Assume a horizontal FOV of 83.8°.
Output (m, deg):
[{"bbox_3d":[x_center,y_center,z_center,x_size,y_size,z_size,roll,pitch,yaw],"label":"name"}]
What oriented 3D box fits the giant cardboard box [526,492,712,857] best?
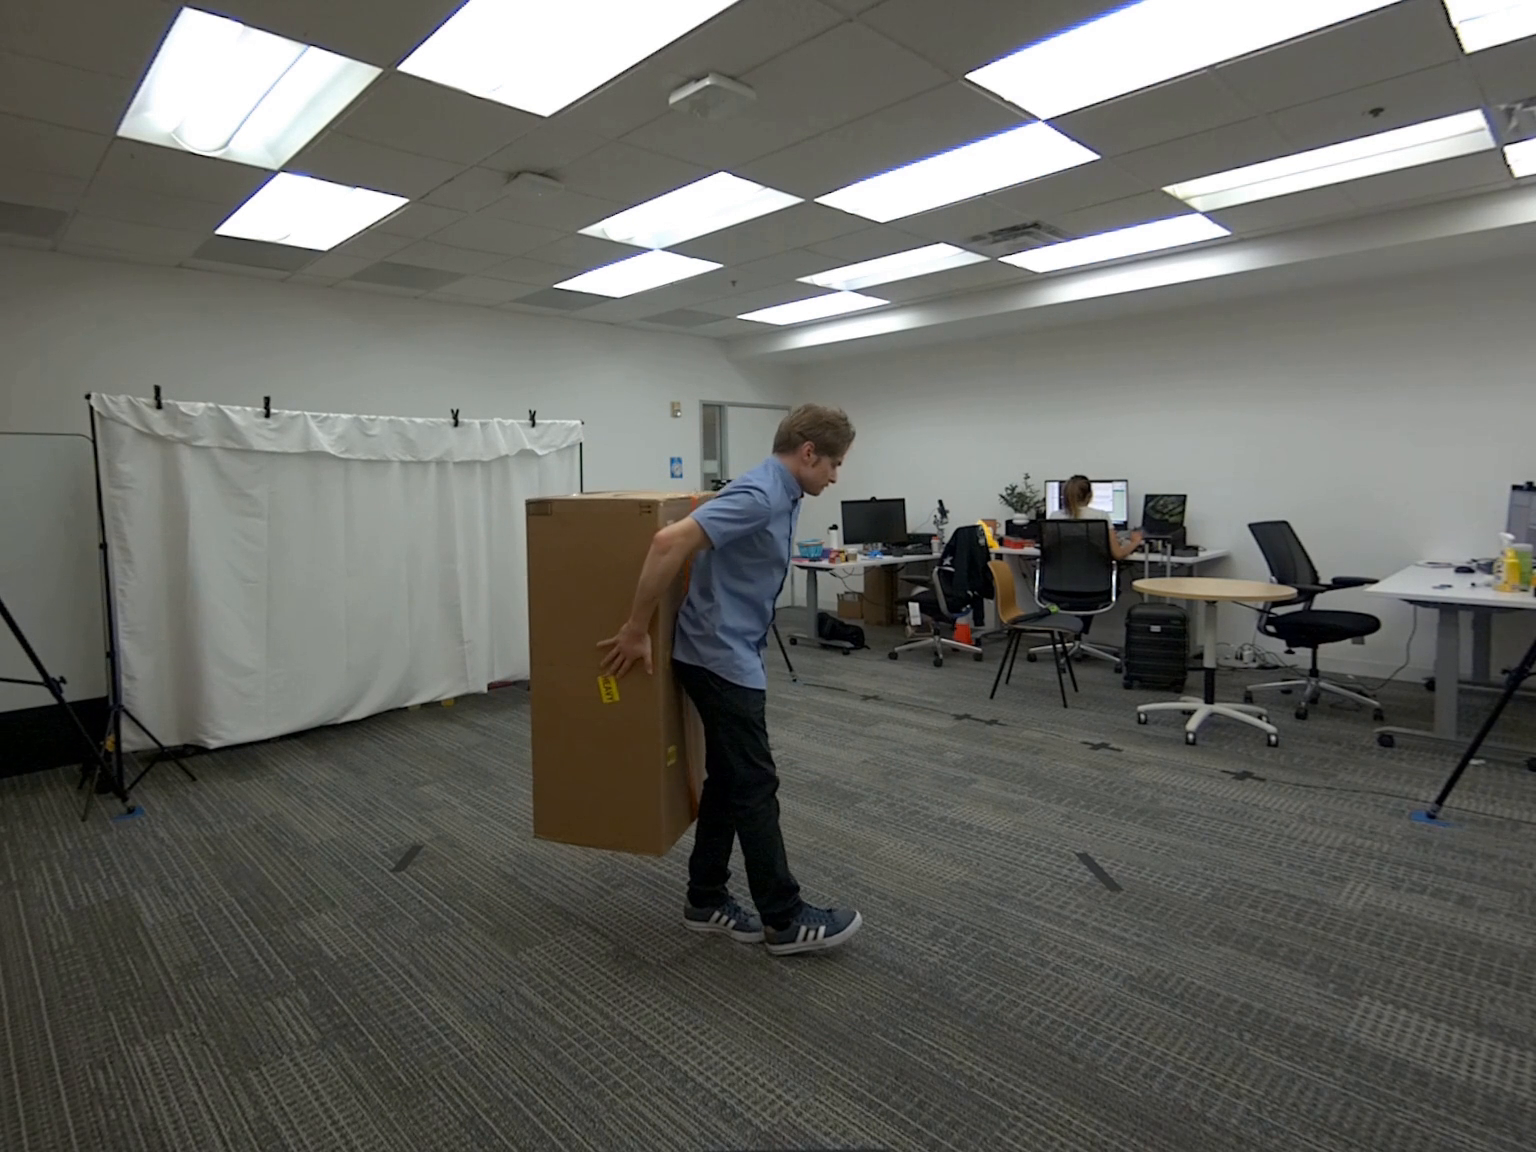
[{"bbox_3d":[-0.424,0.257,2.717,0.453,1.022,0.578,0,5,14],"label":"giant cardboard box"}]
